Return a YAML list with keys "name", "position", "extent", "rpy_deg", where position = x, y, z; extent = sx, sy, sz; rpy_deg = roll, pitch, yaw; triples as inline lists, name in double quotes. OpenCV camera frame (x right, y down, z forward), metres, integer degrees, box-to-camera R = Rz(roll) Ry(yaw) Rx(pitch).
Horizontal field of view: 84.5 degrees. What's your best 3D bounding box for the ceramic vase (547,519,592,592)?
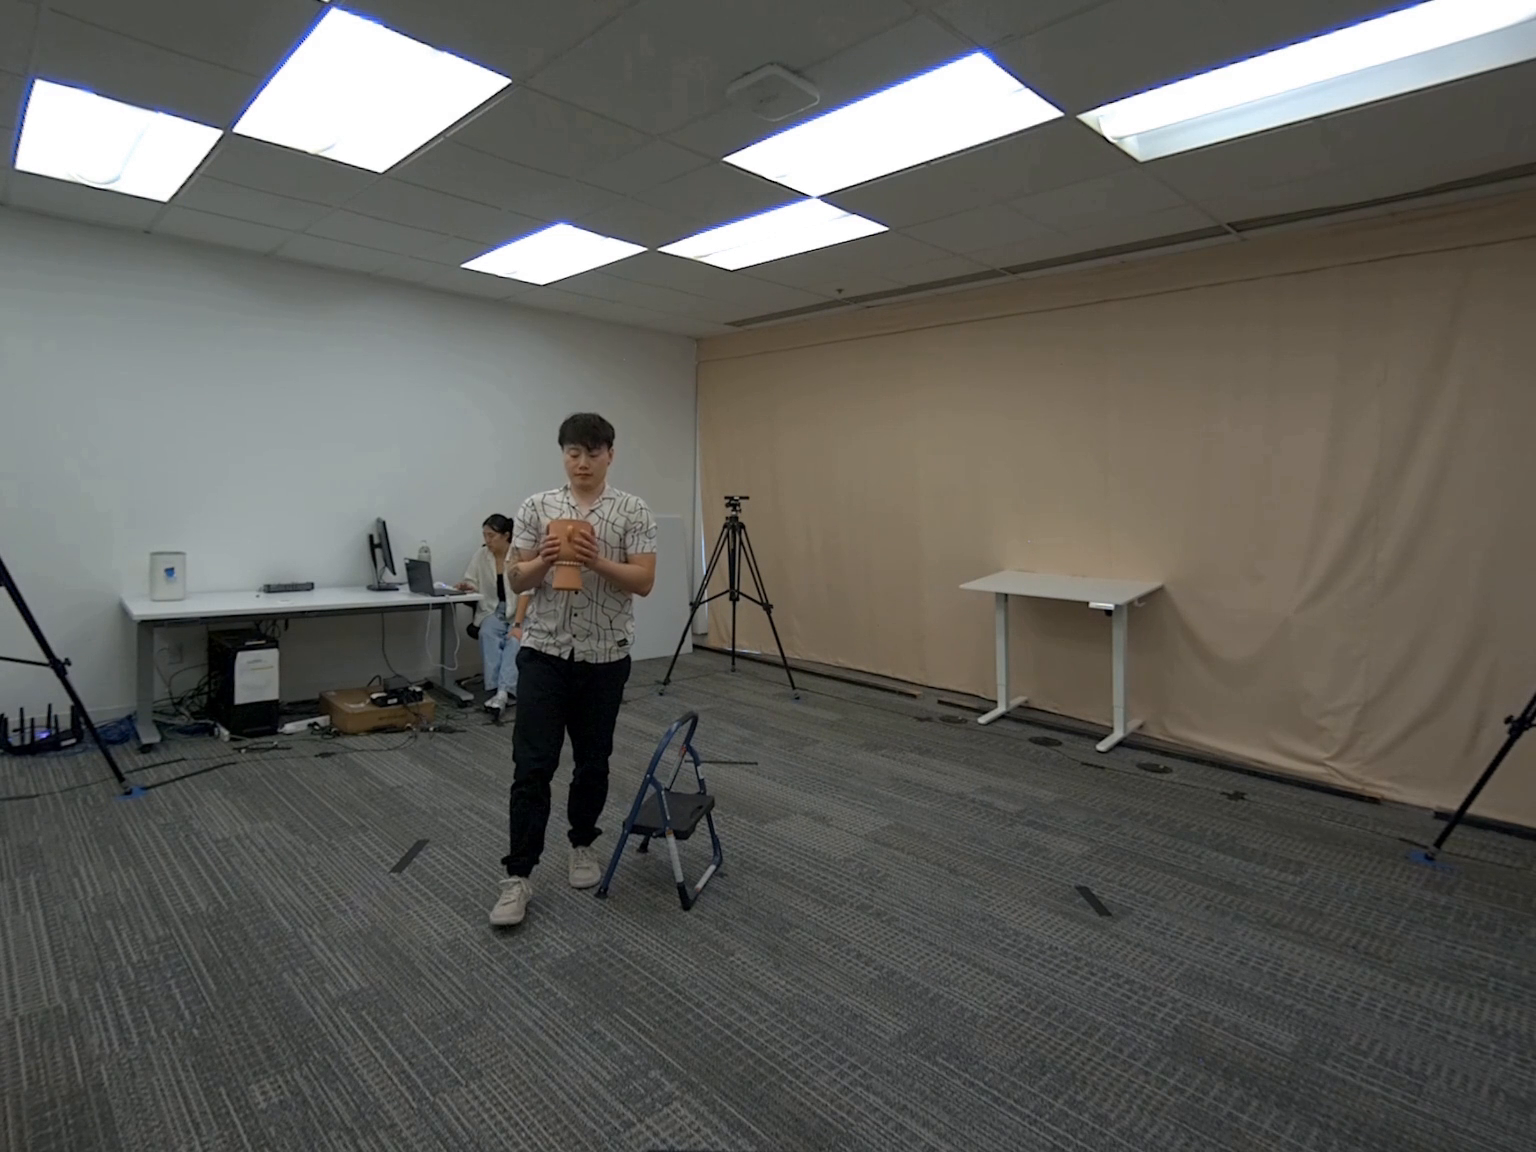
- name: "ceramic vase"
  position: [-0.648, -0.067, 2.723]
  extent: [0.137, 0.221, 0.155]
  rpy_deg: [-3, -8, 26]
